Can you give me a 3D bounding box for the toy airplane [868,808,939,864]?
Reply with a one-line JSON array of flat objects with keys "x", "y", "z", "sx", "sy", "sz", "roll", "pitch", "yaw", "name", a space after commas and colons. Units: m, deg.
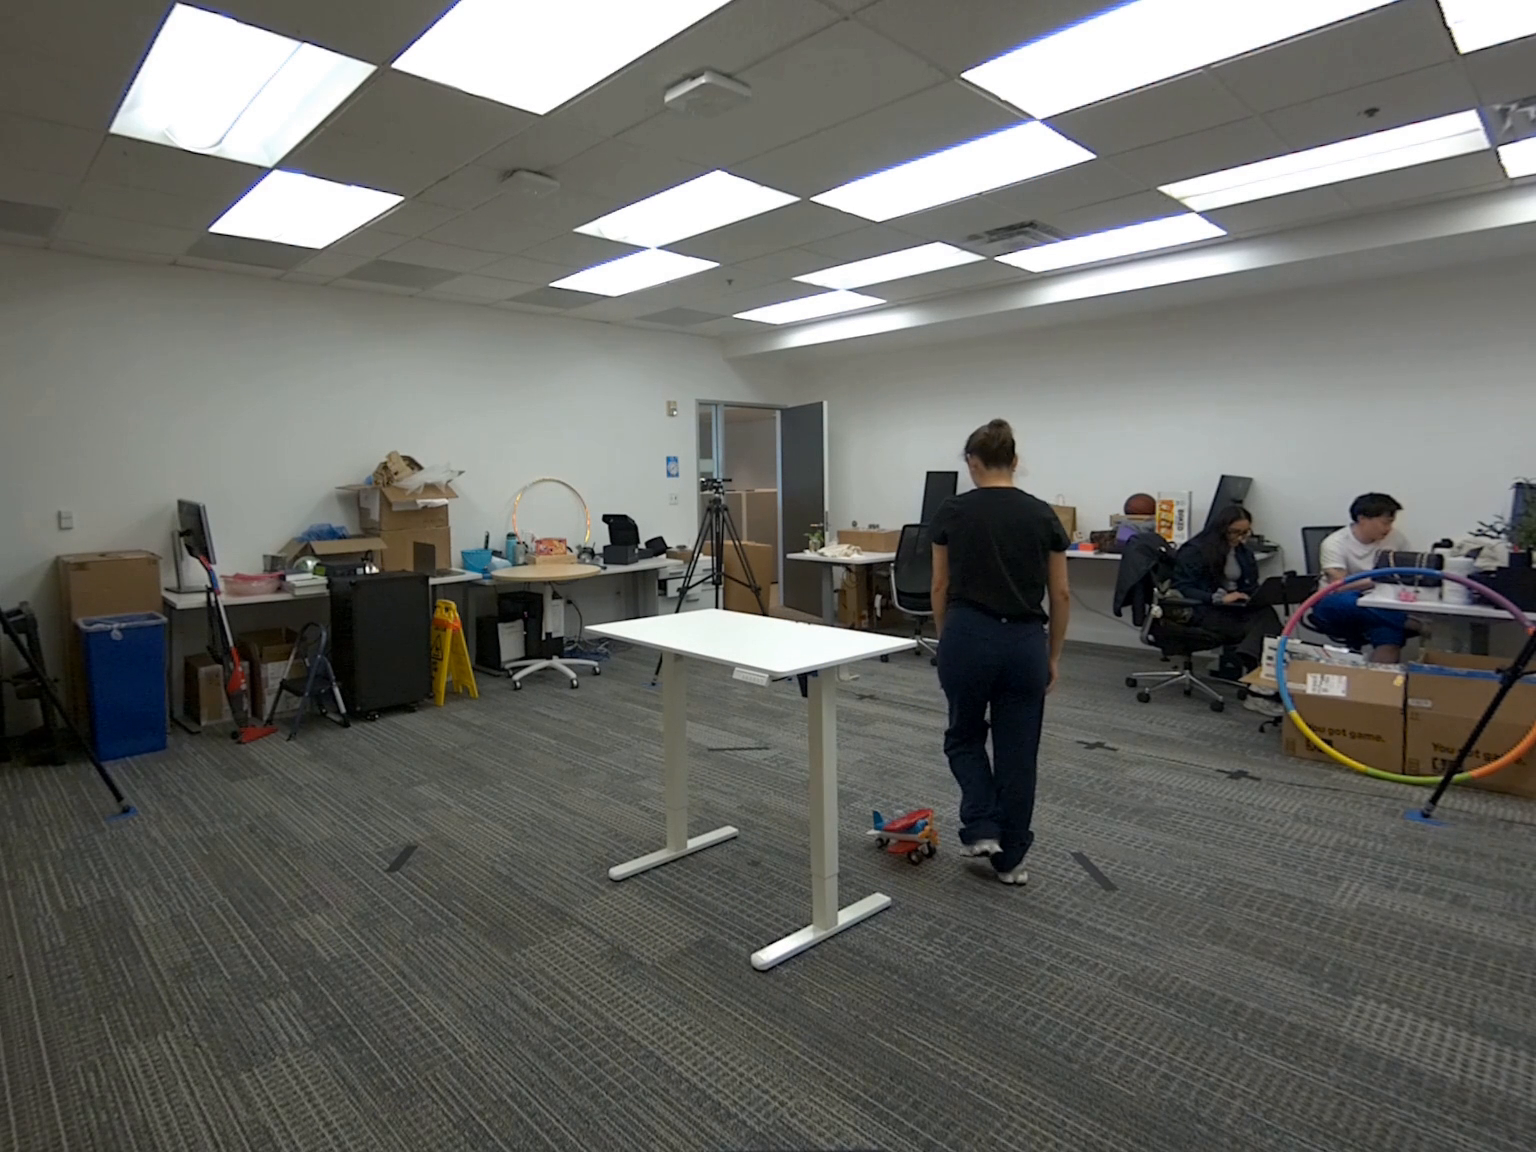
[{"x": 0.487, "y": 0.952, "z": 3.164, "sx": 0.264, "sy": 0.155, "sz": 0.248, "roll": 2, "pitch": 7, "yaw": 18, "name": "toy airplane"}]
